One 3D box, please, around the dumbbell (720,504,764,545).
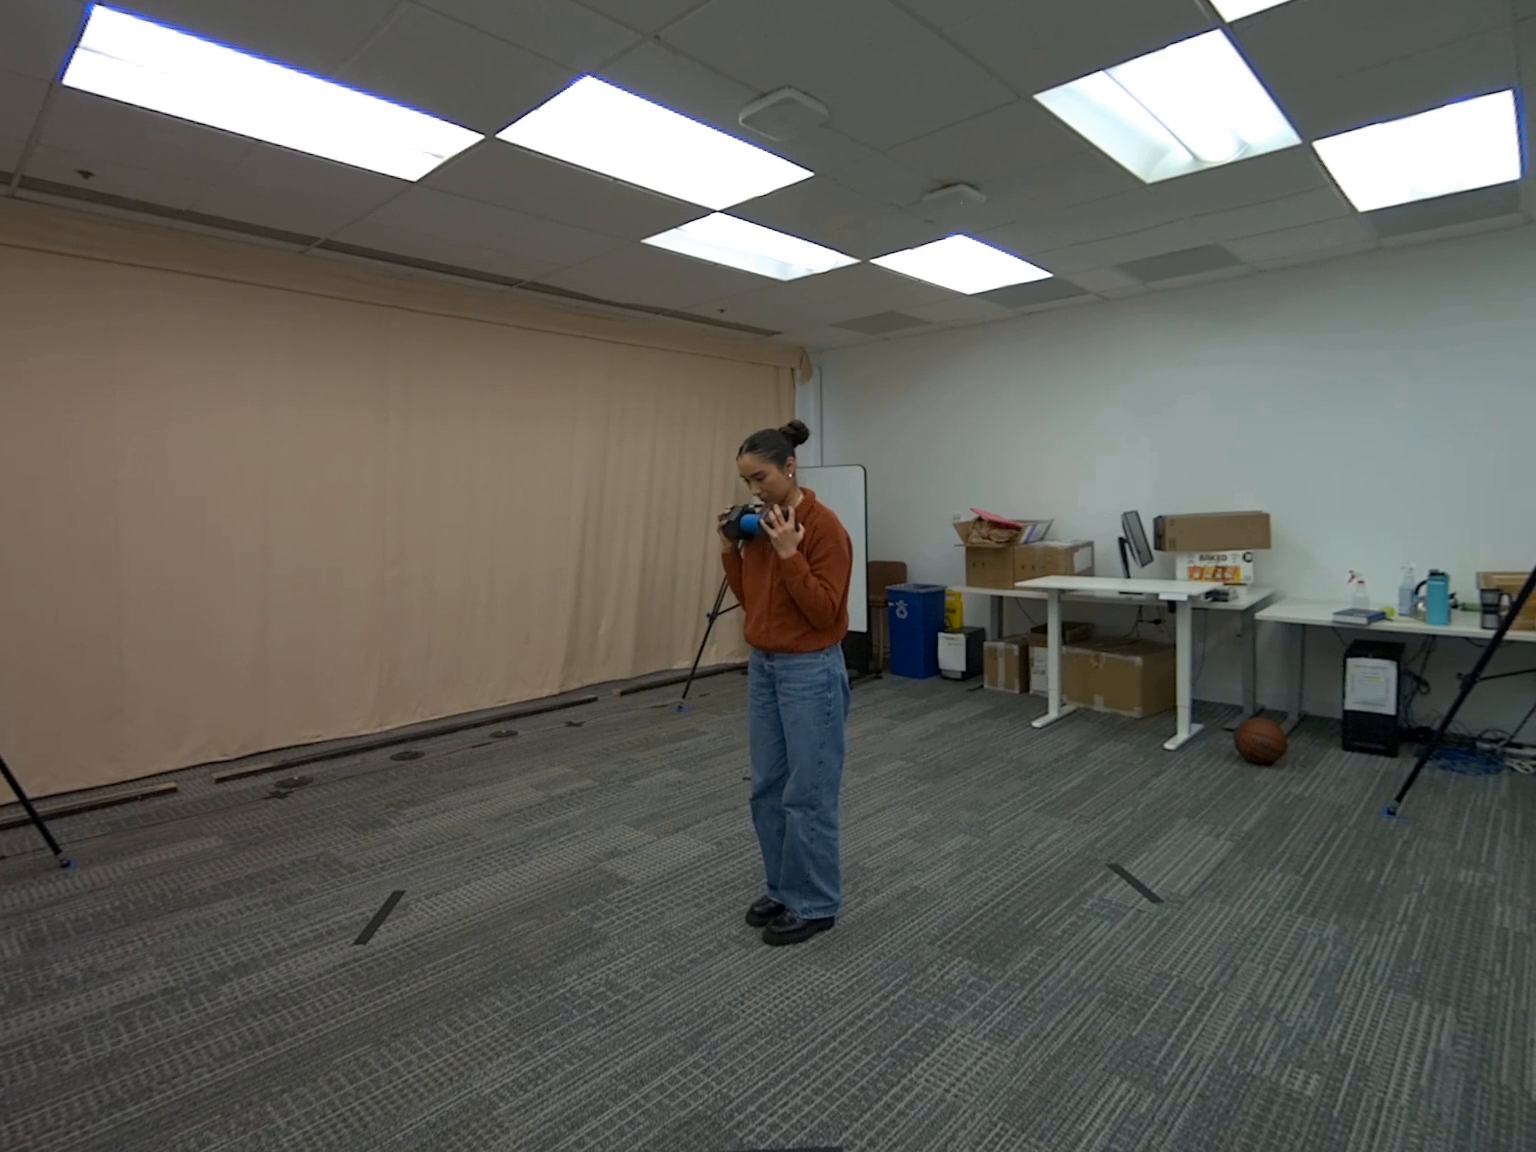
[{"bbox_3d":[-0.024,-0.153,2.672,0.107,0.120,0.303,-32,24,-28],"label":"dumbbell"}]
